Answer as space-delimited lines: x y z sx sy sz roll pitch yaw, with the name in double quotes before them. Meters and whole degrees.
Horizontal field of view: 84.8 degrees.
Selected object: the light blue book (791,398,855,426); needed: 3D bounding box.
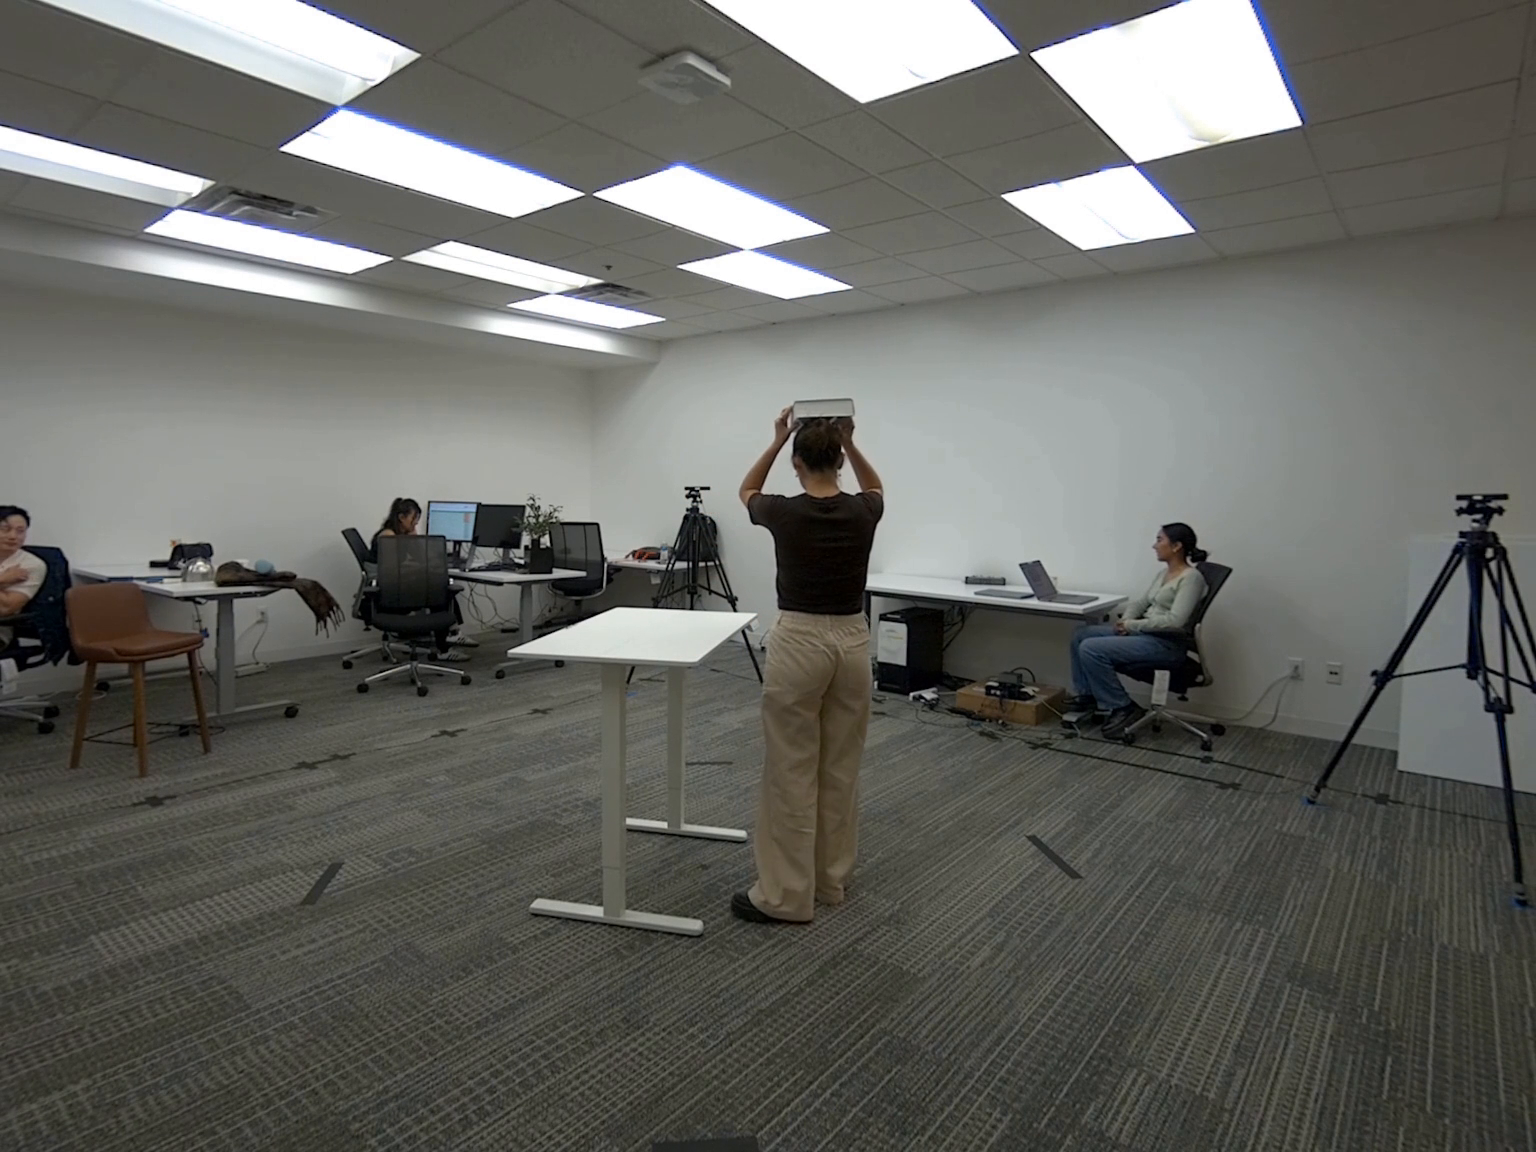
"light blue book" 0.174 -0.544 2.846 0.191 0.059 0.261 -3 0 -3
